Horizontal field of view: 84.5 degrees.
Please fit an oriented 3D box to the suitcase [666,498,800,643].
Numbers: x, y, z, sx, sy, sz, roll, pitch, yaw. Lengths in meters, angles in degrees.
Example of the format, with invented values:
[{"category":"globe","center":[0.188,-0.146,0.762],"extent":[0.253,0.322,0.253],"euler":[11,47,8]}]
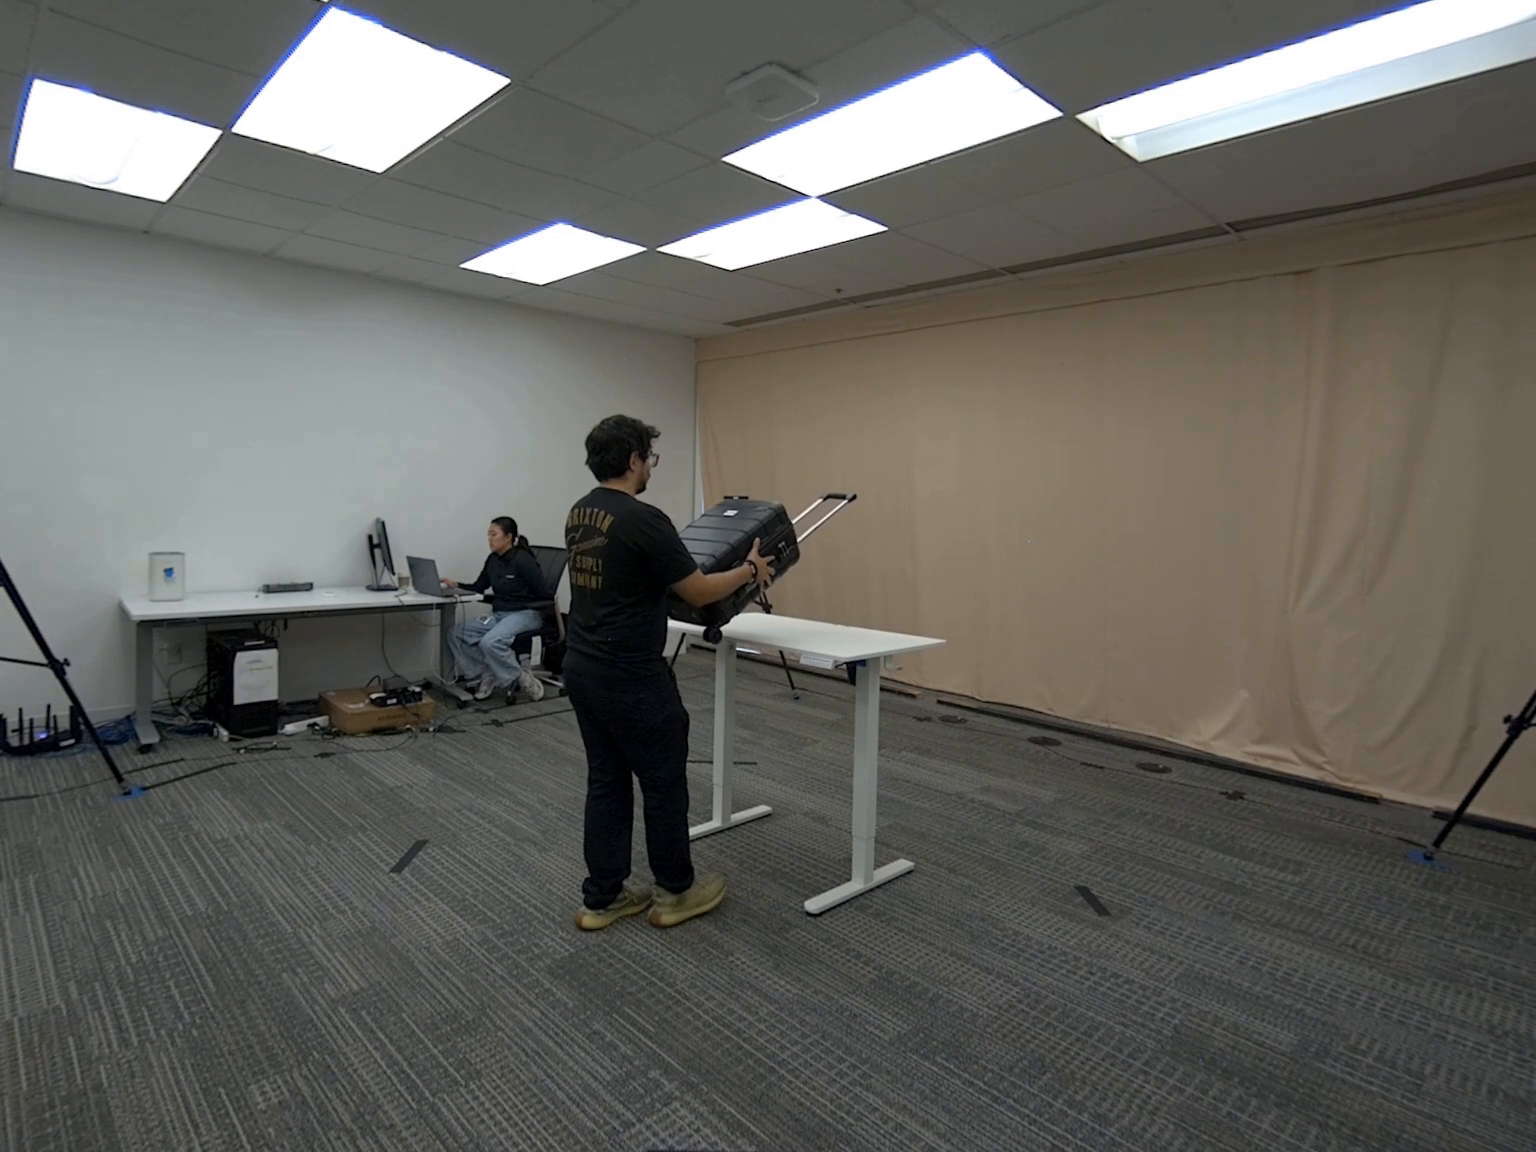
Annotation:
[{"category":"suitcase","center":[-0.037,-0.164,3.114],"extent":[0.394,0.251,0.975],"euler":[7,40,44]}]
